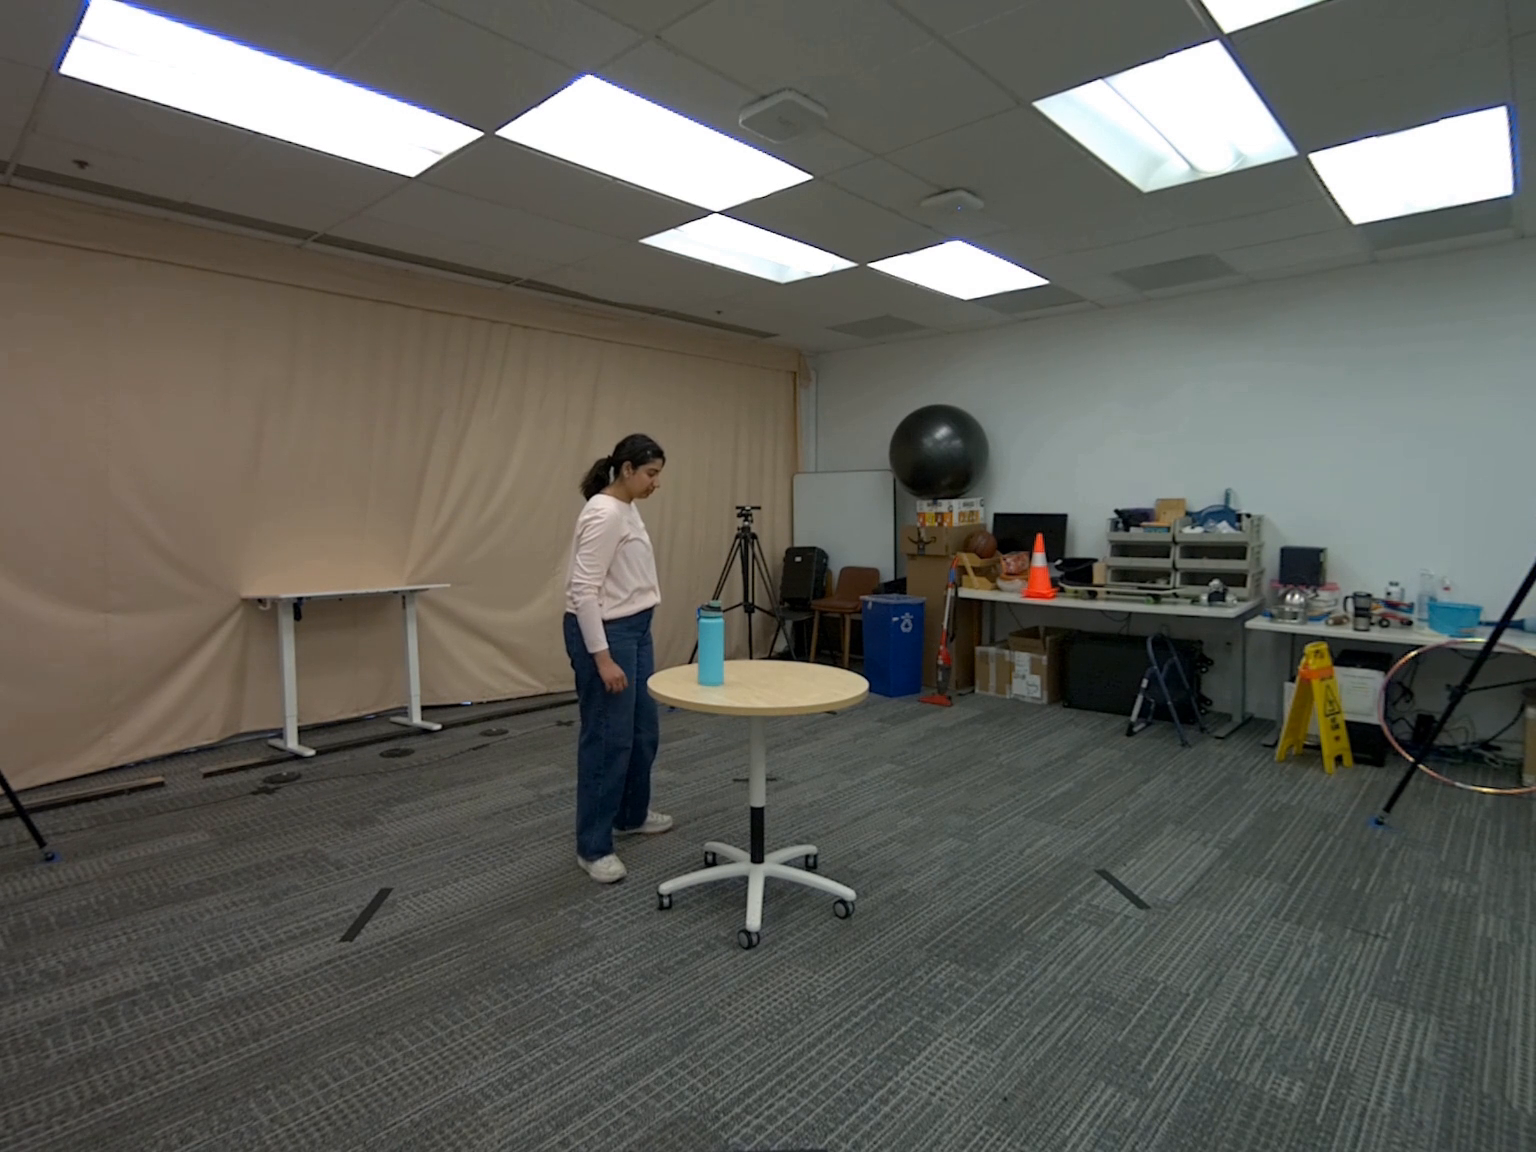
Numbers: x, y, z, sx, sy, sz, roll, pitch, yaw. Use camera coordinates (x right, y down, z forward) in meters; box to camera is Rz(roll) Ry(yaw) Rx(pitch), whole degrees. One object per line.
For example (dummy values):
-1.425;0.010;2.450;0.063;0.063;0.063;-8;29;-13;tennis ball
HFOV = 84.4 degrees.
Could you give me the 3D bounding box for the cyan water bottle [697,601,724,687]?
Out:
-0.200;0.232;2.876;0.092;0.282;0.093;-2;5;-2;cyan water bottle
